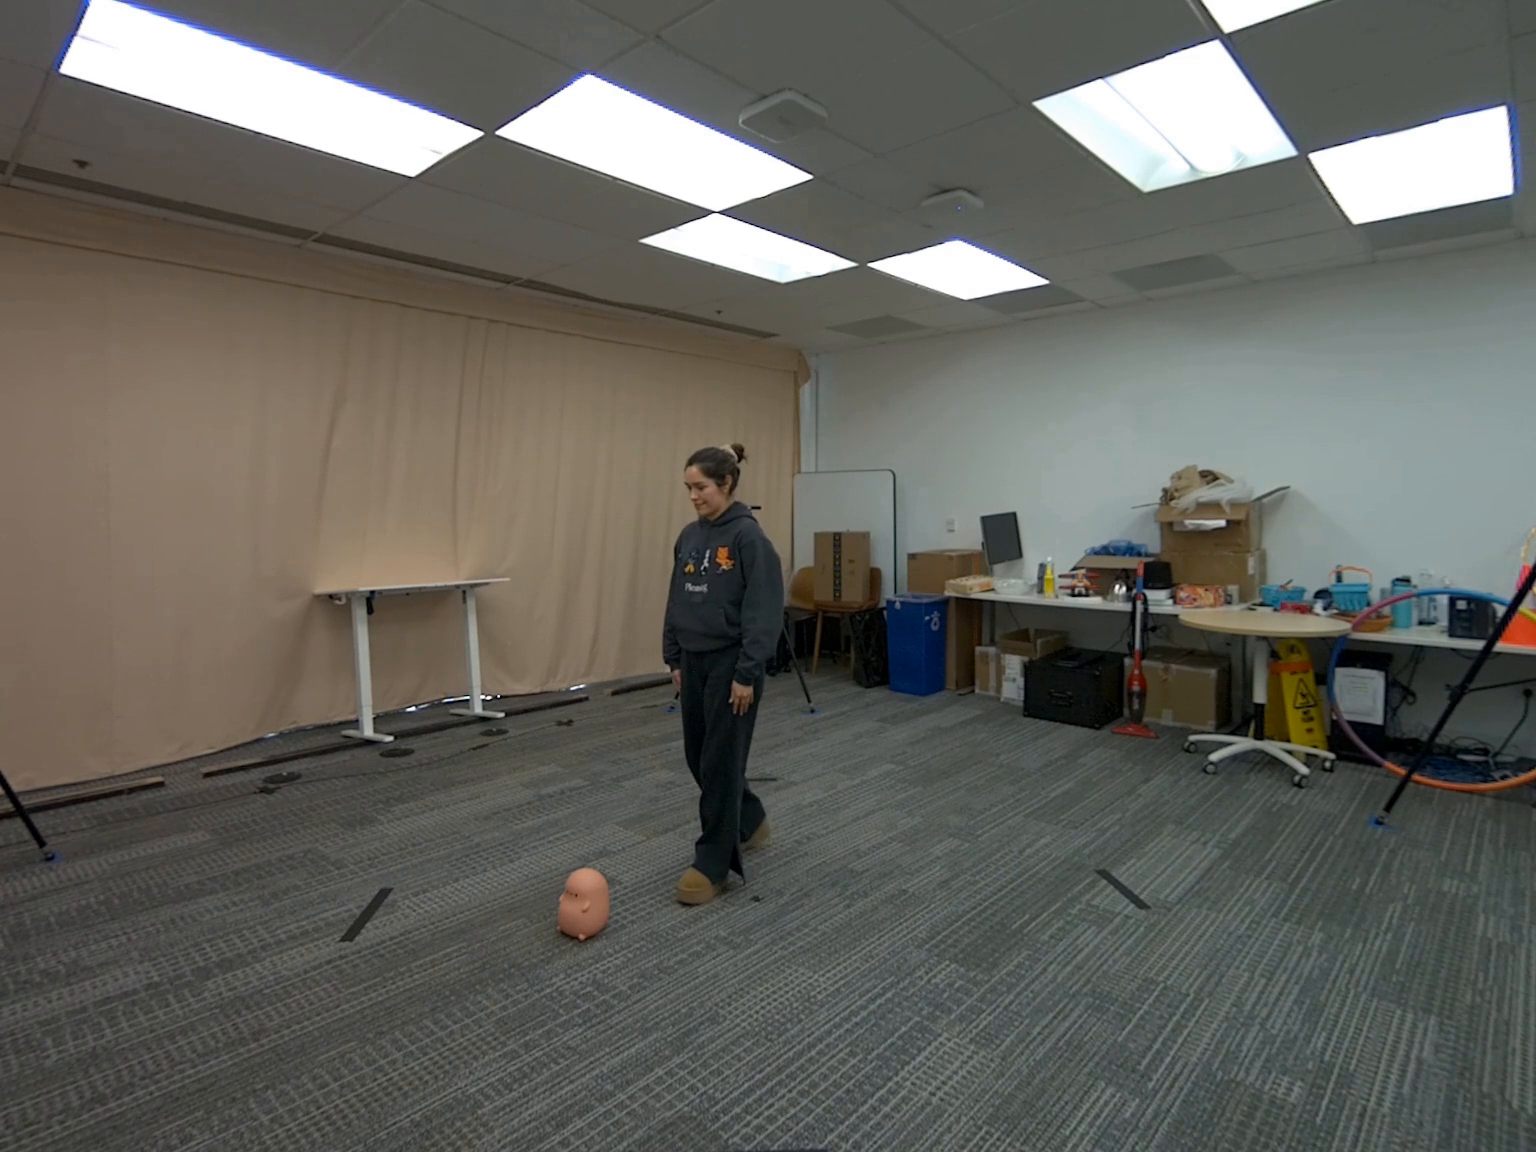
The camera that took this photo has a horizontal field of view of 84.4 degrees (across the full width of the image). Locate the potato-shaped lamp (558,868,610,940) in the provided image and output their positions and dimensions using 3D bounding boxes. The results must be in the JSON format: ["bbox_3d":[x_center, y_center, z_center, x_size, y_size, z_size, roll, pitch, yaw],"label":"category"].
[{"bbox_3d":[-0.584,1.073,2.770,0.169,0.198,0.167,1,4,32],"label":"potato-shaped lamp"}]
